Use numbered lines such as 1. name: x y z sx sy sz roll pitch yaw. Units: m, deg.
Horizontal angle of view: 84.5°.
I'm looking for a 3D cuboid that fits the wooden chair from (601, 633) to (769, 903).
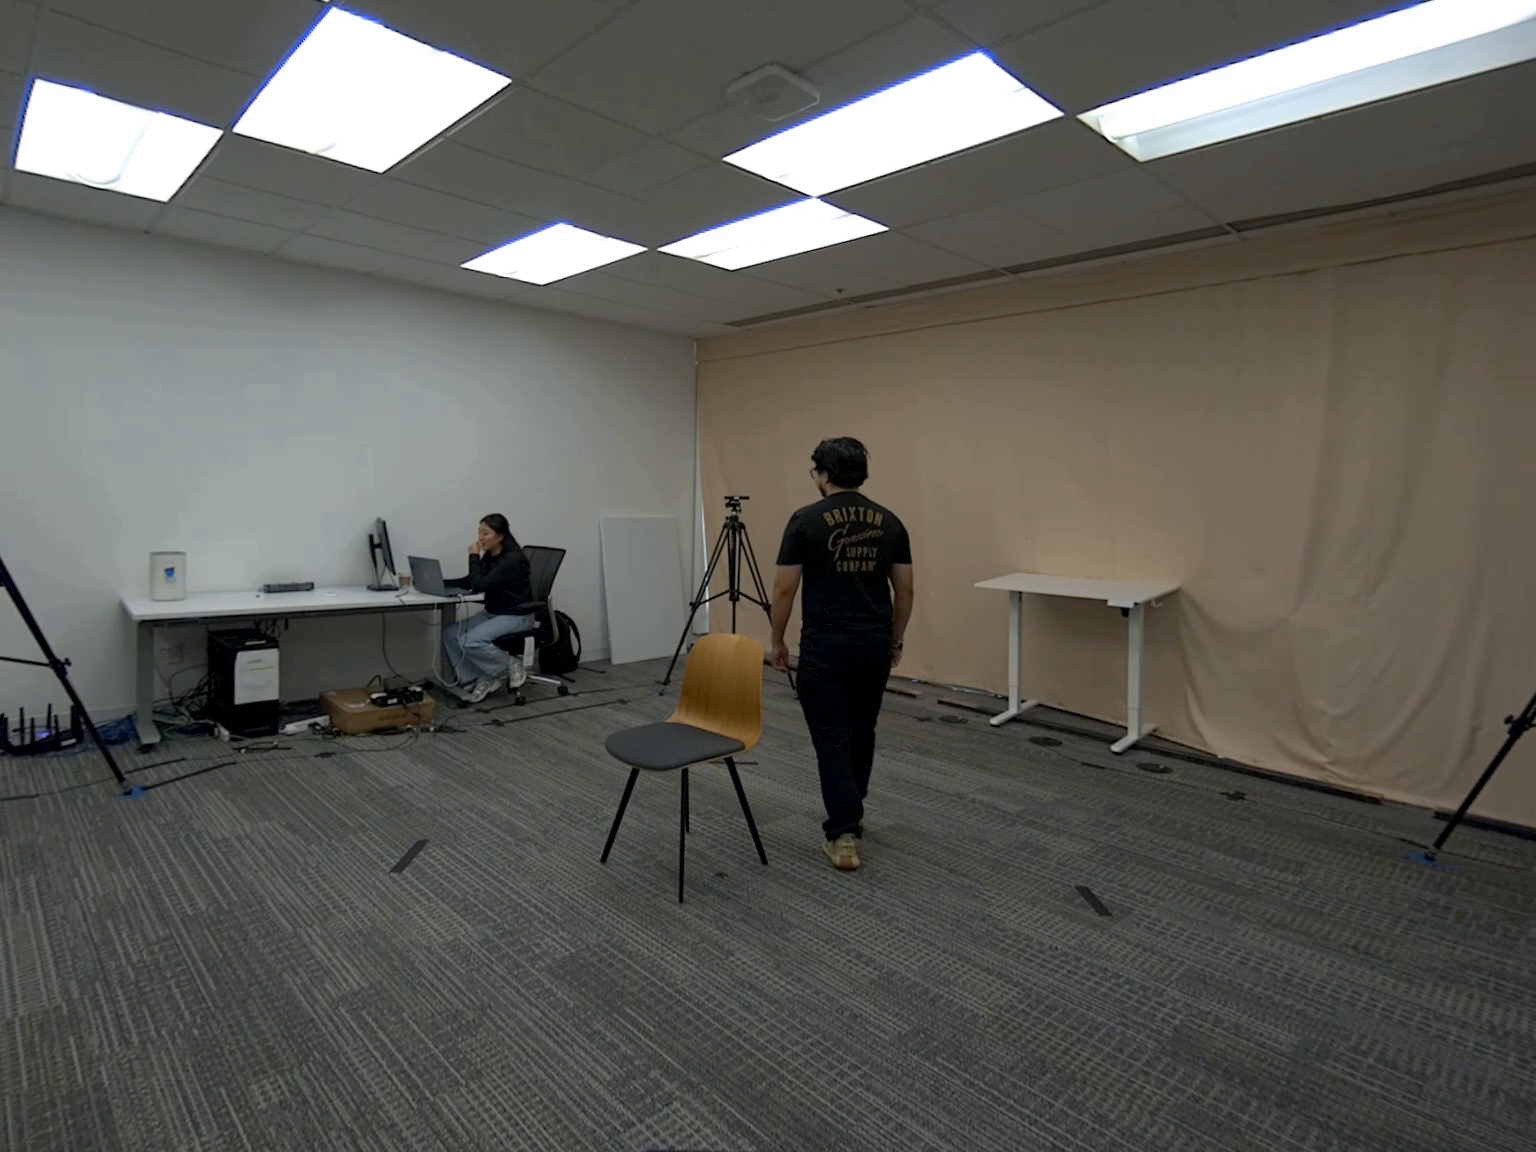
1. wooden chair: -0.316 0.669 3.152 0.490 0.877 0.510 4 0 43
